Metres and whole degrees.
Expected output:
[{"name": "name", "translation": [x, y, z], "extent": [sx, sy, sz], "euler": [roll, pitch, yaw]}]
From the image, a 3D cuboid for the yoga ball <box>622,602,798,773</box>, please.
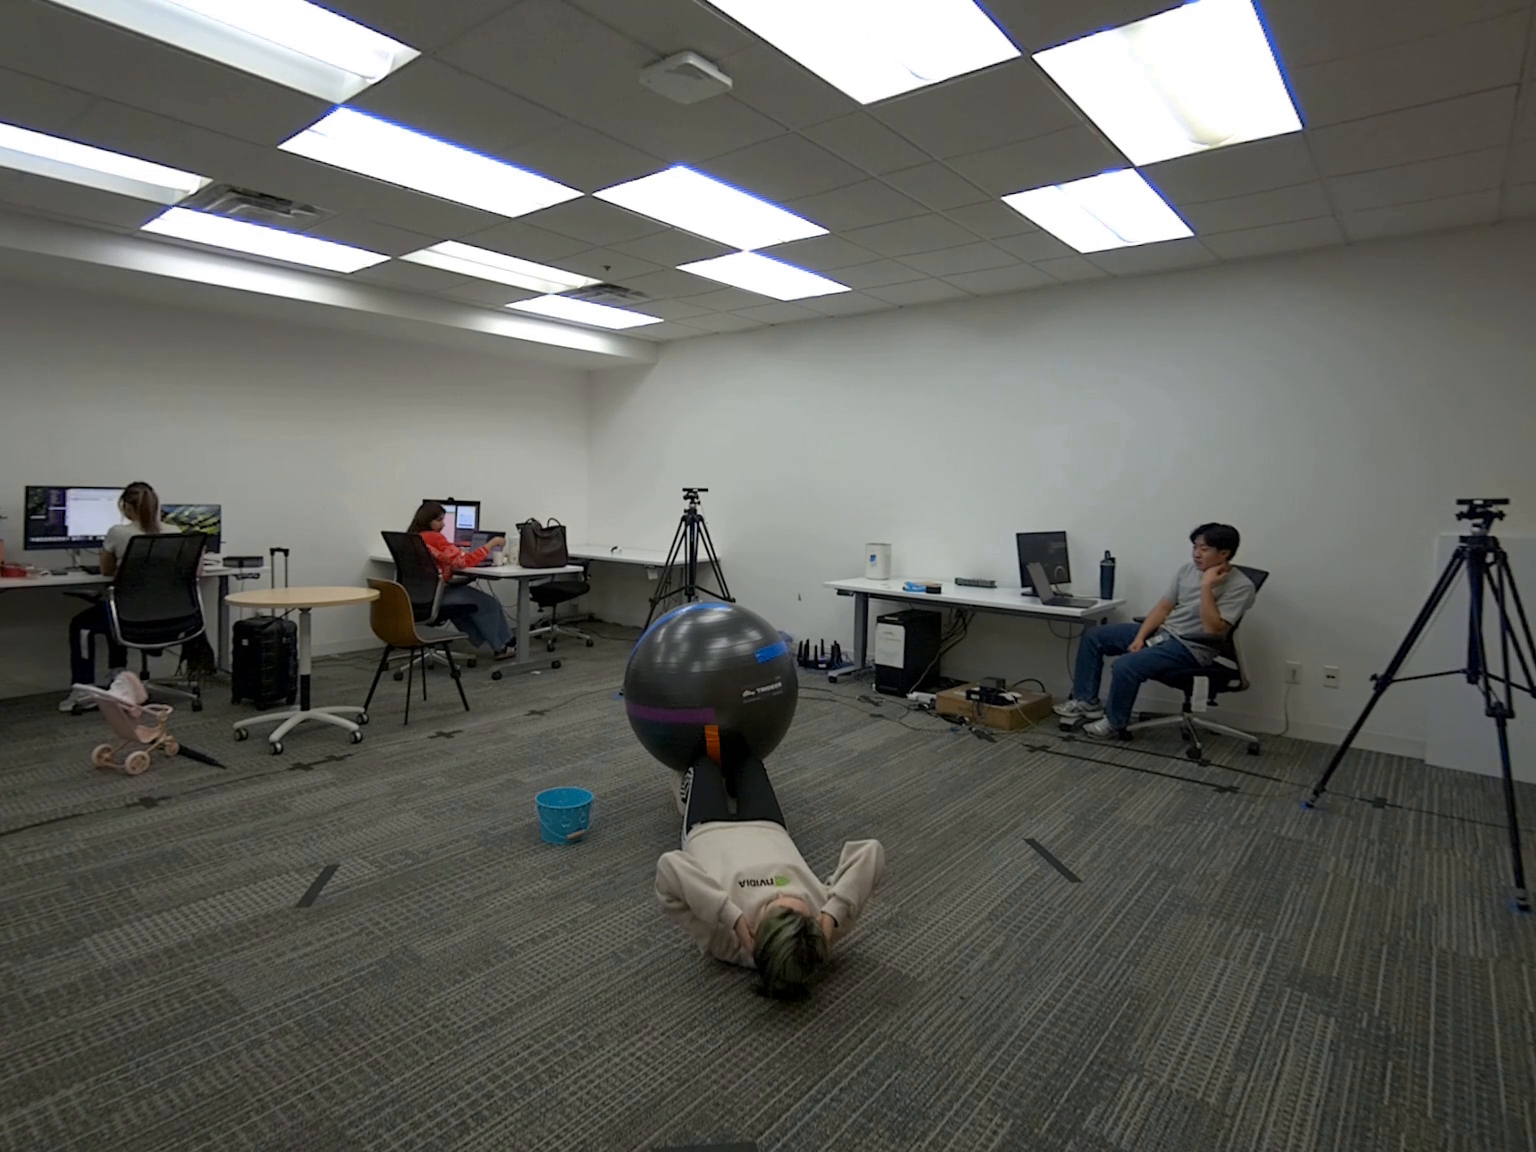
[{"name": "yoga ball", "translation": [-0.264, 0.485, 3.699], "extent": [0.757, 0.756, 0.761], "euler": [1, 4, -2]}]
